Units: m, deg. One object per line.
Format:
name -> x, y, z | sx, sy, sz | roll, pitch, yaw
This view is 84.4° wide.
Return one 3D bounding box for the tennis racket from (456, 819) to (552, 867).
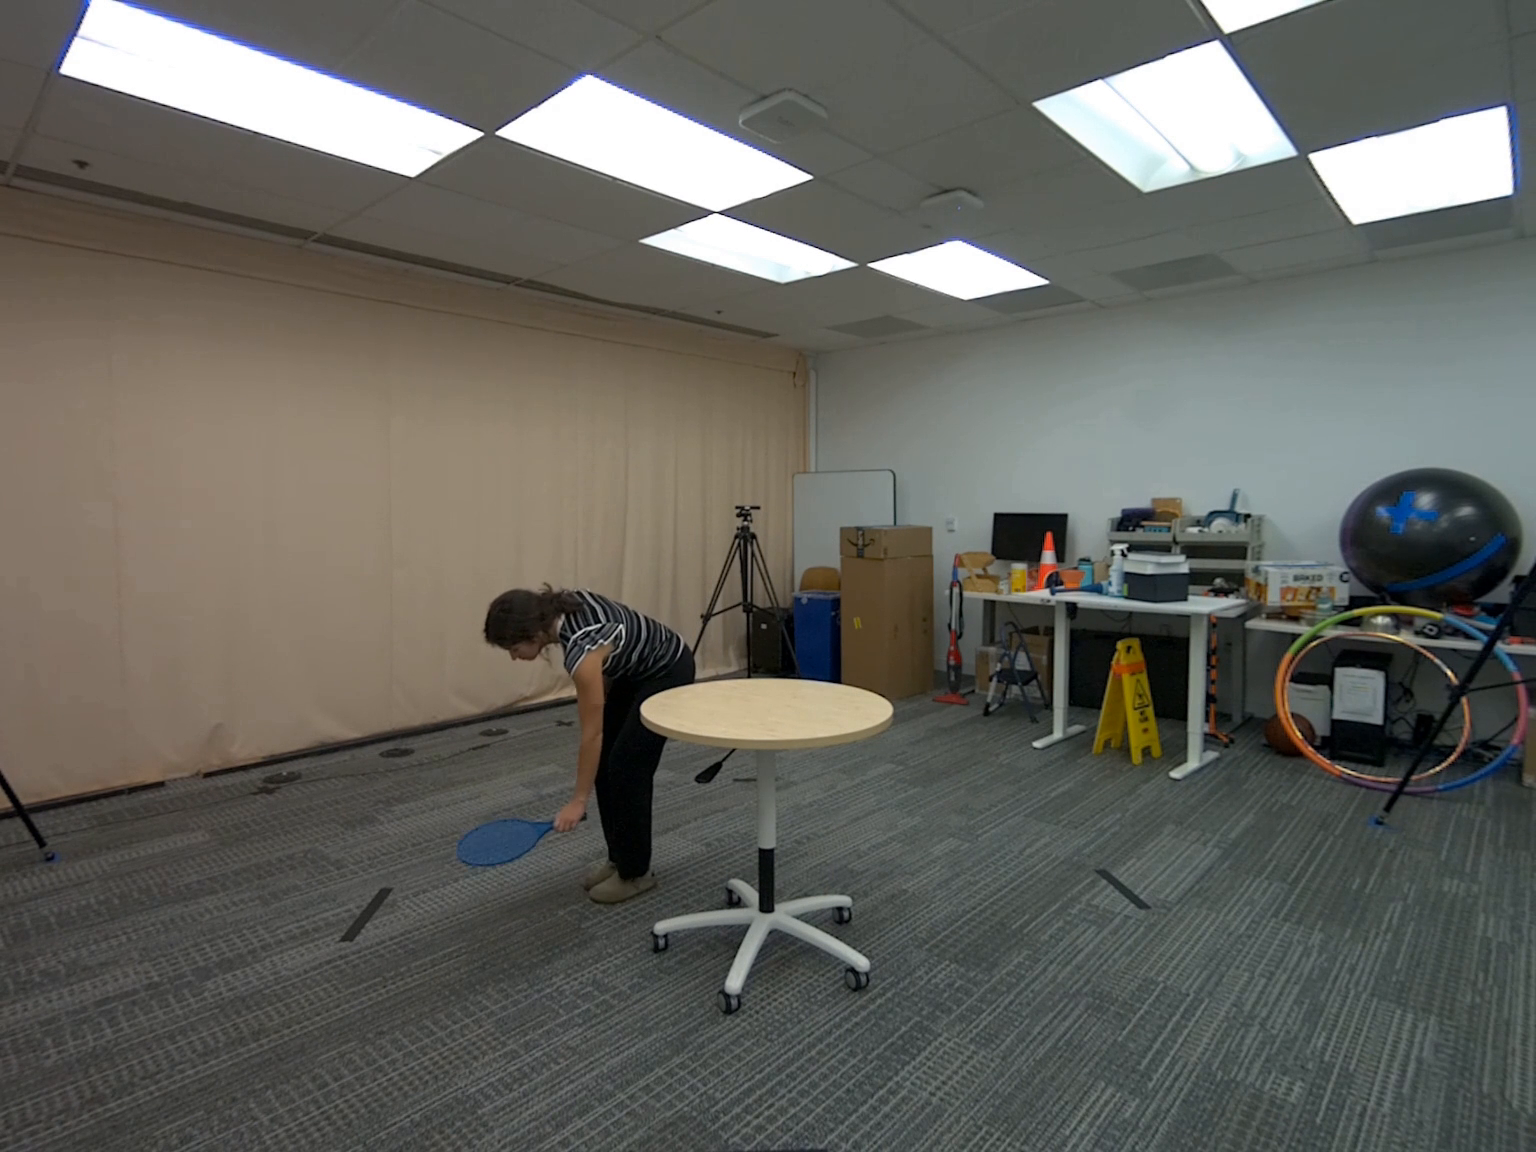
tennis racket -> -0.811, 0.851, 2.786 | 0.423, 0.031, 0.221 | -11, 24, -26
